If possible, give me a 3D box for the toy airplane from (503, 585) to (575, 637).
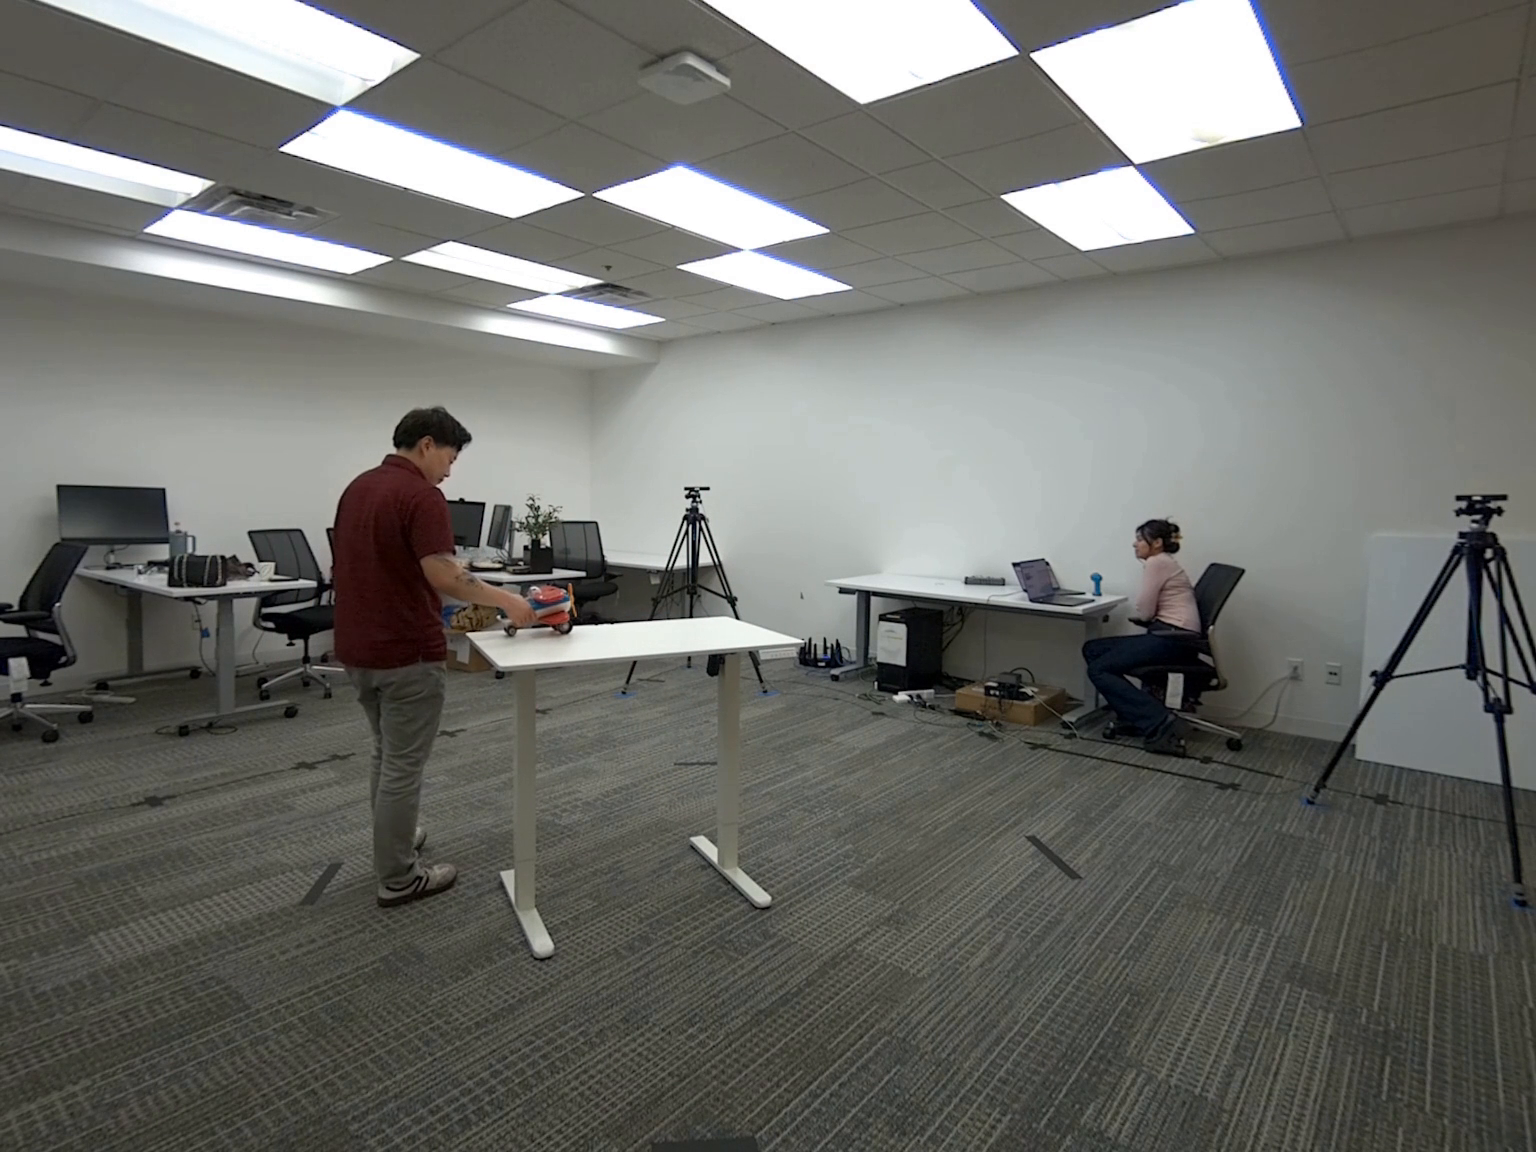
[{"bbox_3d":[-0.798,0.121,2.905,0.259,0.156,0.252,5,5,35],"label":"toy airplane"}]
